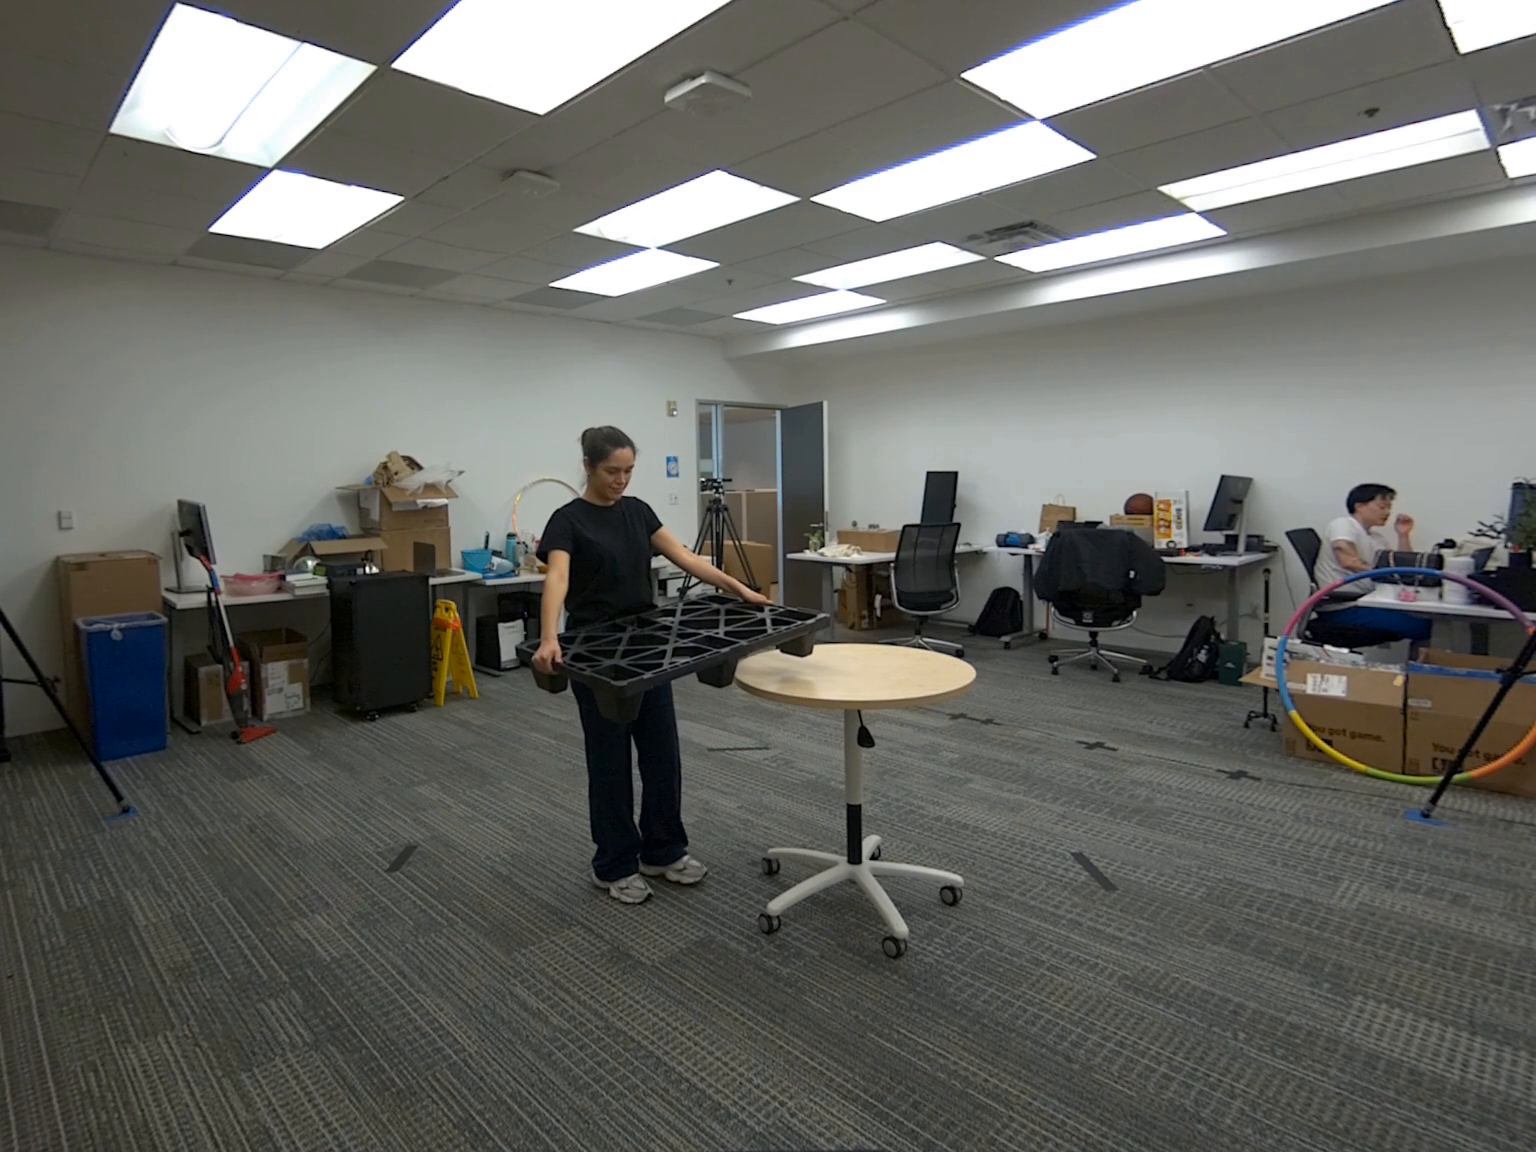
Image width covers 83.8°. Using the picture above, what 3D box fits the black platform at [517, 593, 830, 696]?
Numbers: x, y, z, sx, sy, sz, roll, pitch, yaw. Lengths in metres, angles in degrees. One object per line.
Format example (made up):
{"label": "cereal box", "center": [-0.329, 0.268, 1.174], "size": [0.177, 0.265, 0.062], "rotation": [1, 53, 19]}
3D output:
{"label": "black platform", "center": [-0.284, 0.229, 2.664], "size": [0.788, 0.142, 0.624], "rotation": [-15, 15, -40]}
